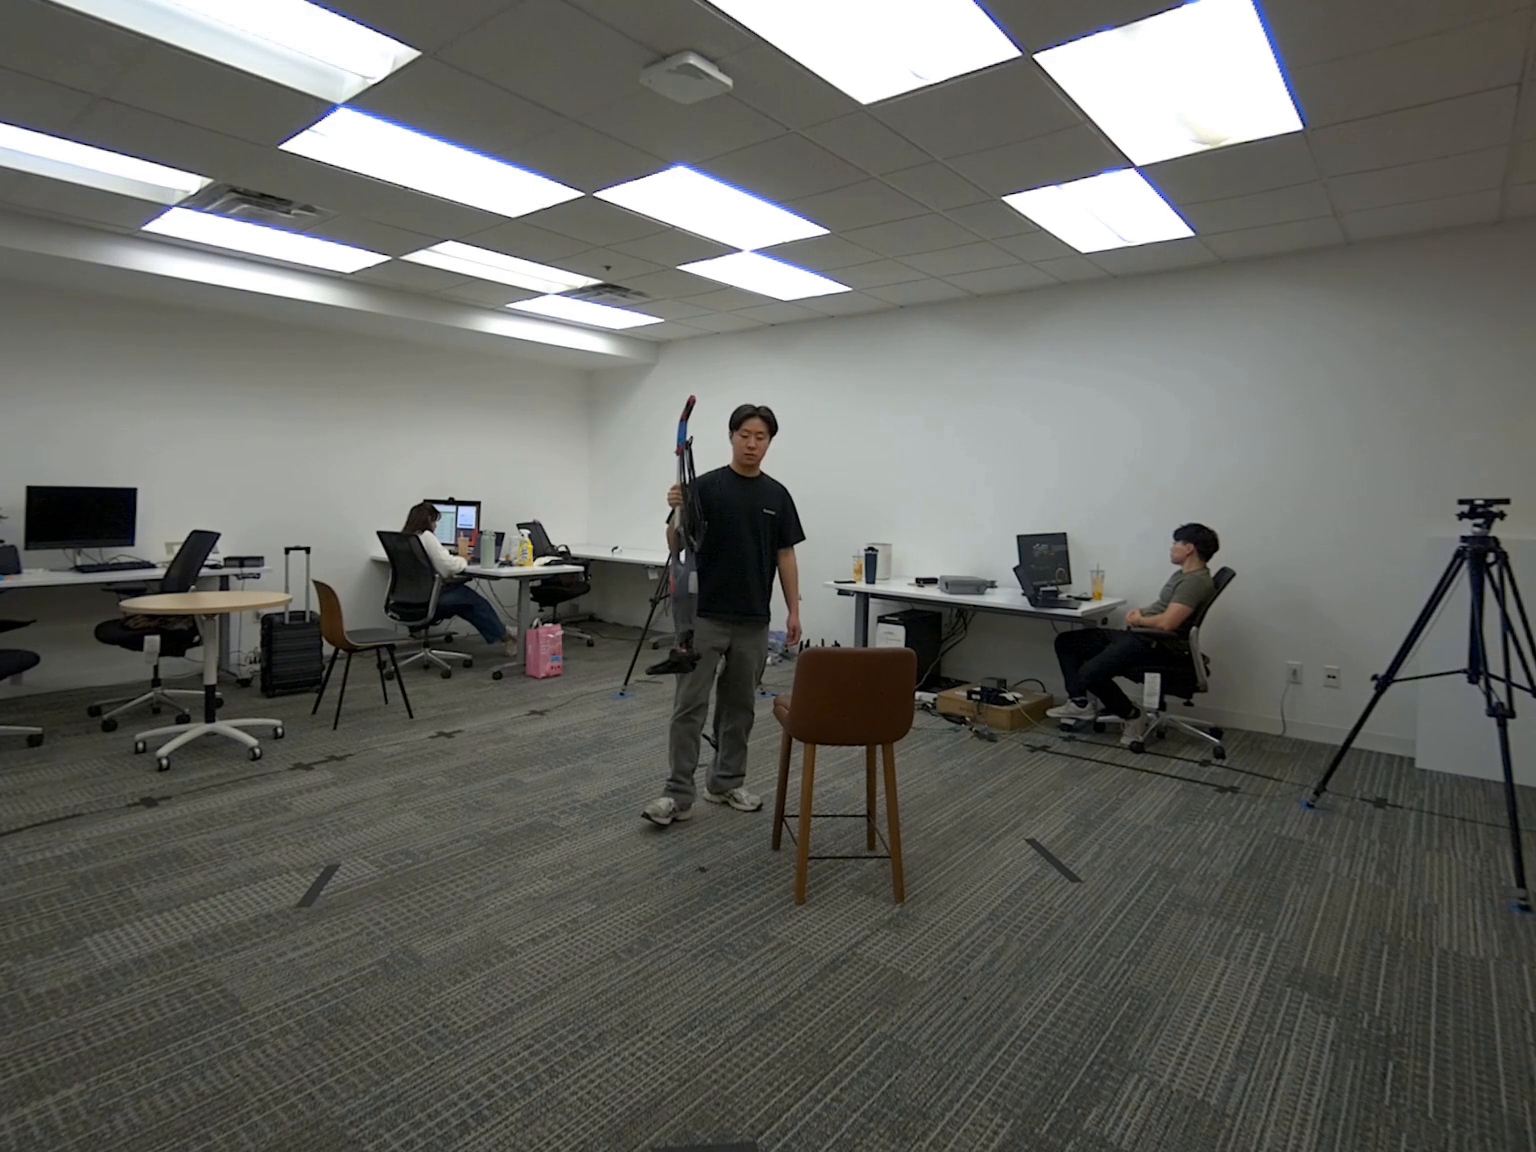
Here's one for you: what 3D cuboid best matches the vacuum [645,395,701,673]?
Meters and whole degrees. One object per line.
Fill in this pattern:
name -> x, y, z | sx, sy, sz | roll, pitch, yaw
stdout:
vacuum -> -0.333, -0.191, 3.344 | 0.148, 1.053, 0.244 | 1, -4, 32
